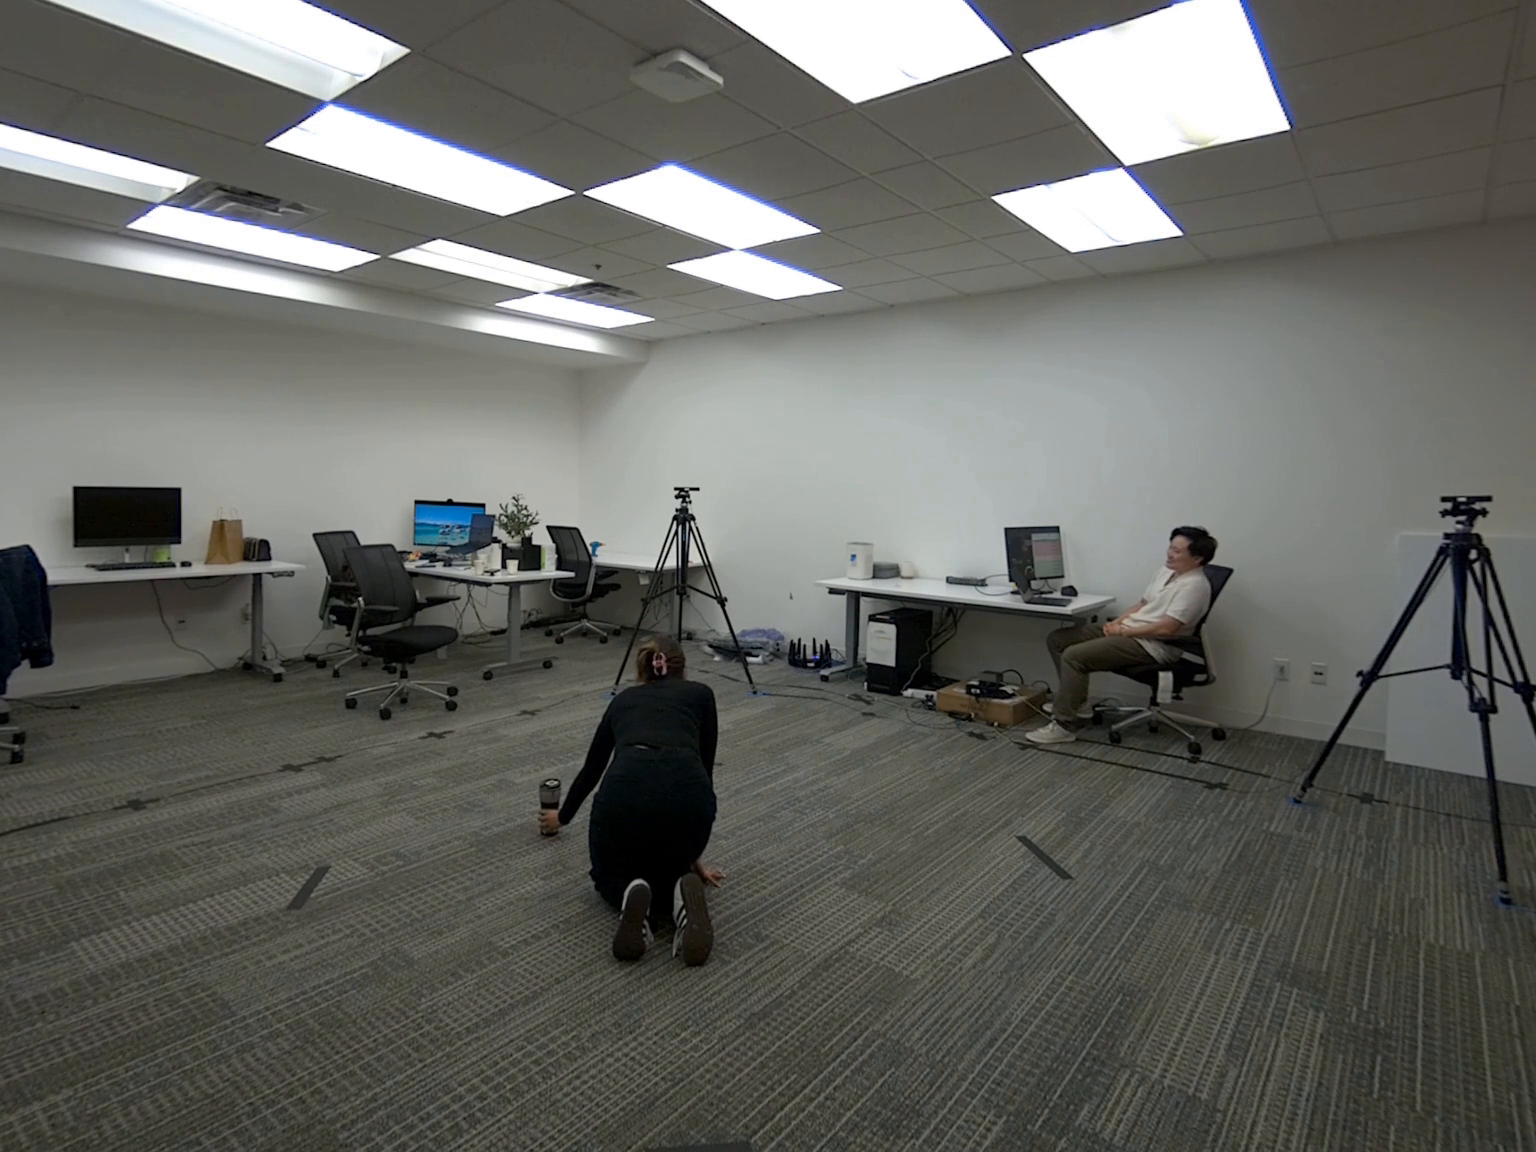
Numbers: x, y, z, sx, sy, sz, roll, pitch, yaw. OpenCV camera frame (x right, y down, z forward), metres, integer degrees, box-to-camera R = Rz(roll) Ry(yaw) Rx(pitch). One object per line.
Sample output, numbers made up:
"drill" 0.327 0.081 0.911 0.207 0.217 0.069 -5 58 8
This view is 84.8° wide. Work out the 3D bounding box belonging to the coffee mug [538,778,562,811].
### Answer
"coffee mug" -0.878 0.925 3.429 0.090 0.202 0.120 -1 6 19
